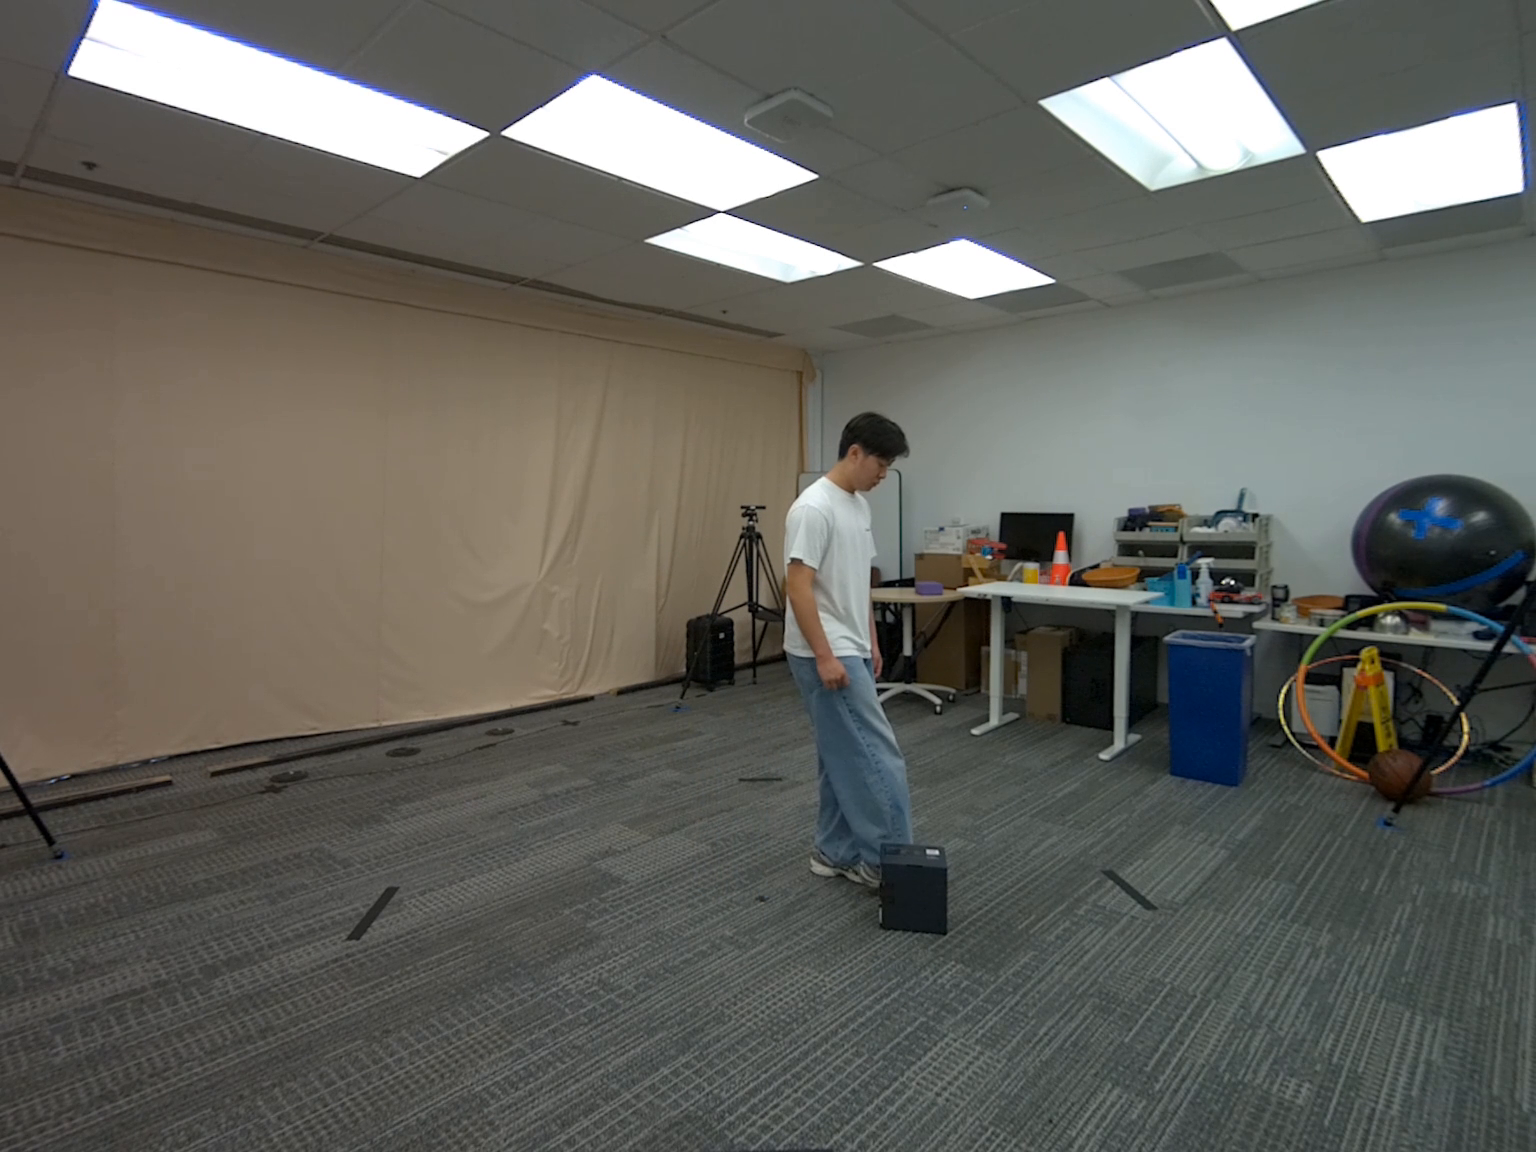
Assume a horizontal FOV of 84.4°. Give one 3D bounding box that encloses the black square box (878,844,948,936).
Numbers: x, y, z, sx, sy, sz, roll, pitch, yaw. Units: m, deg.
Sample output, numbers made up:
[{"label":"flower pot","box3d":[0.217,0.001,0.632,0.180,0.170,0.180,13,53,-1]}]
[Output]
[{"label":"black square box","box3d":[0.484,1.032,2.809,0.219,0.227,0.155,1,5,10]}]
